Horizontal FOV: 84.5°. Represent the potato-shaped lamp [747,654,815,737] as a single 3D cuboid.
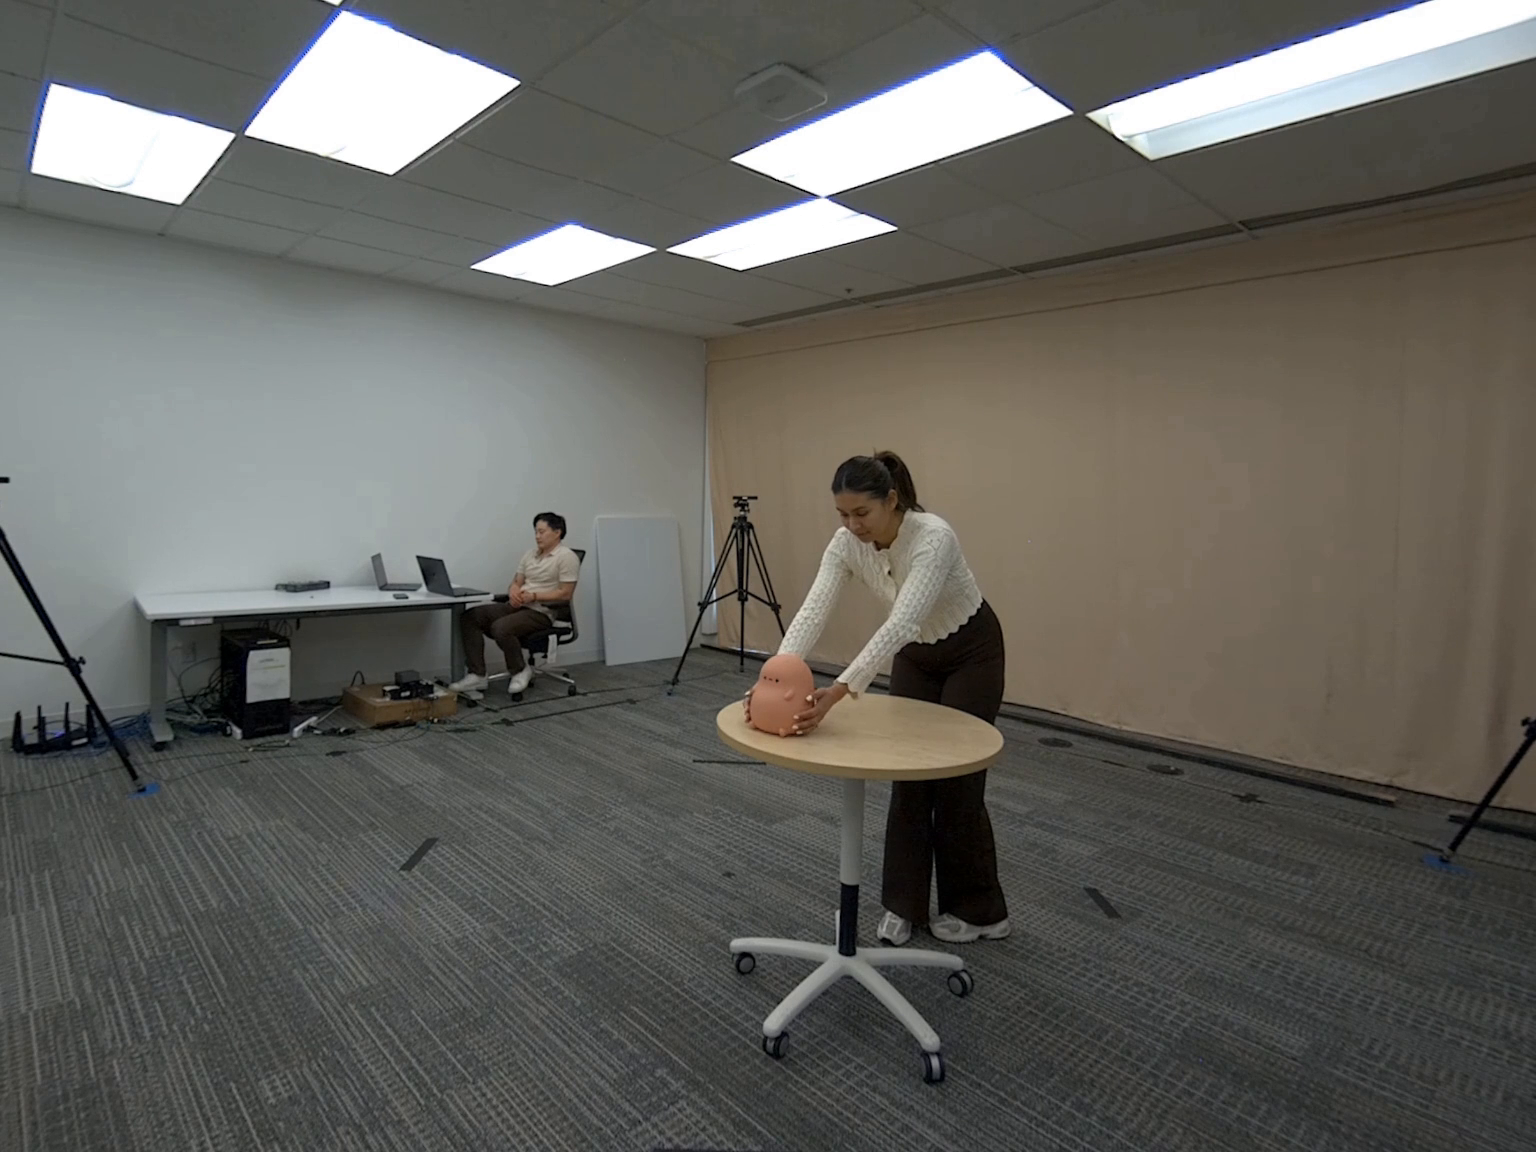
[{"bbox_3d":[0.041,0.308,2.202,0.169,0.198,0.167,6,4,43],"label":"potato-shaped lamp"}]
